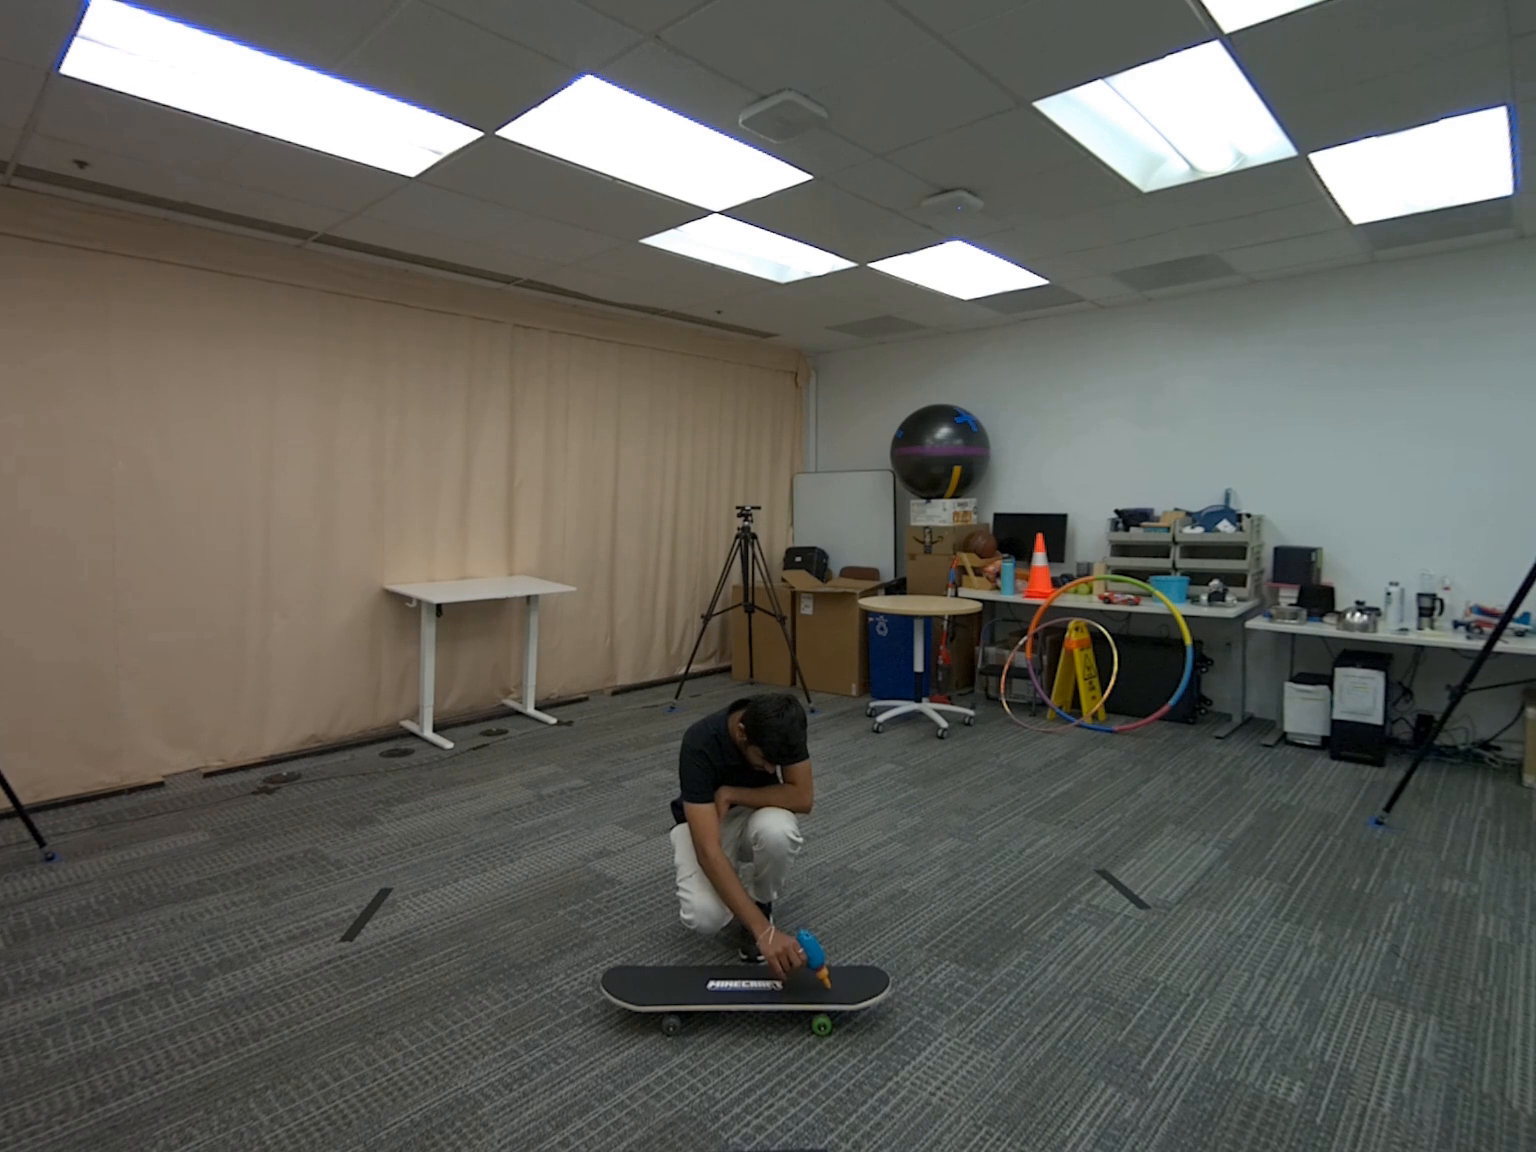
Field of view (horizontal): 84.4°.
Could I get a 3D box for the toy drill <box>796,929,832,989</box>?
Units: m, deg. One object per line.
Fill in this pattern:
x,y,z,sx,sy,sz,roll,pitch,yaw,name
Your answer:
0.090,1.040,2.262,0.146,0.170,0.061,-32,-2,-4,toy drill
